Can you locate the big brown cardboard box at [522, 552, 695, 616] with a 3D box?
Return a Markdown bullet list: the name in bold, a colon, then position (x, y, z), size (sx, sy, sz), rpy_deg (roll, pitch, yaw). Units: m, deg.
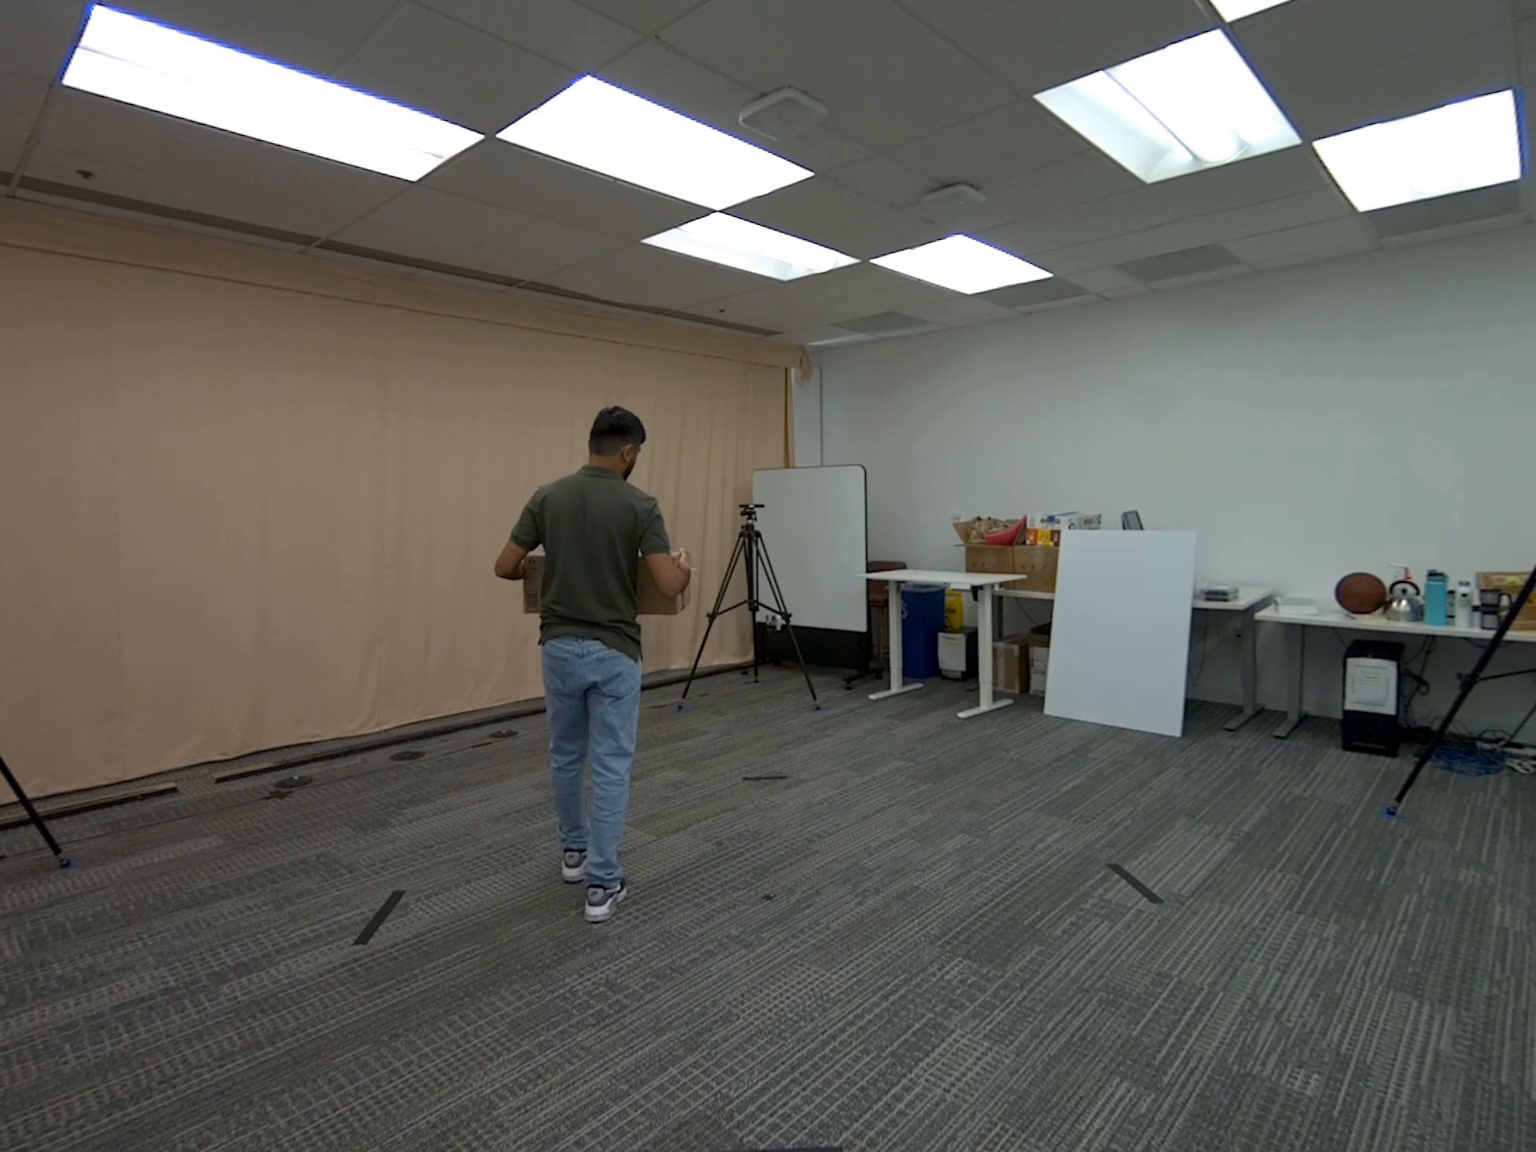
- **big brown cardboard box**: position (-0.598, 0.016, 3.242), size (0.591, 0.233, 0.417), rpy_deg (0, 3, 2)
